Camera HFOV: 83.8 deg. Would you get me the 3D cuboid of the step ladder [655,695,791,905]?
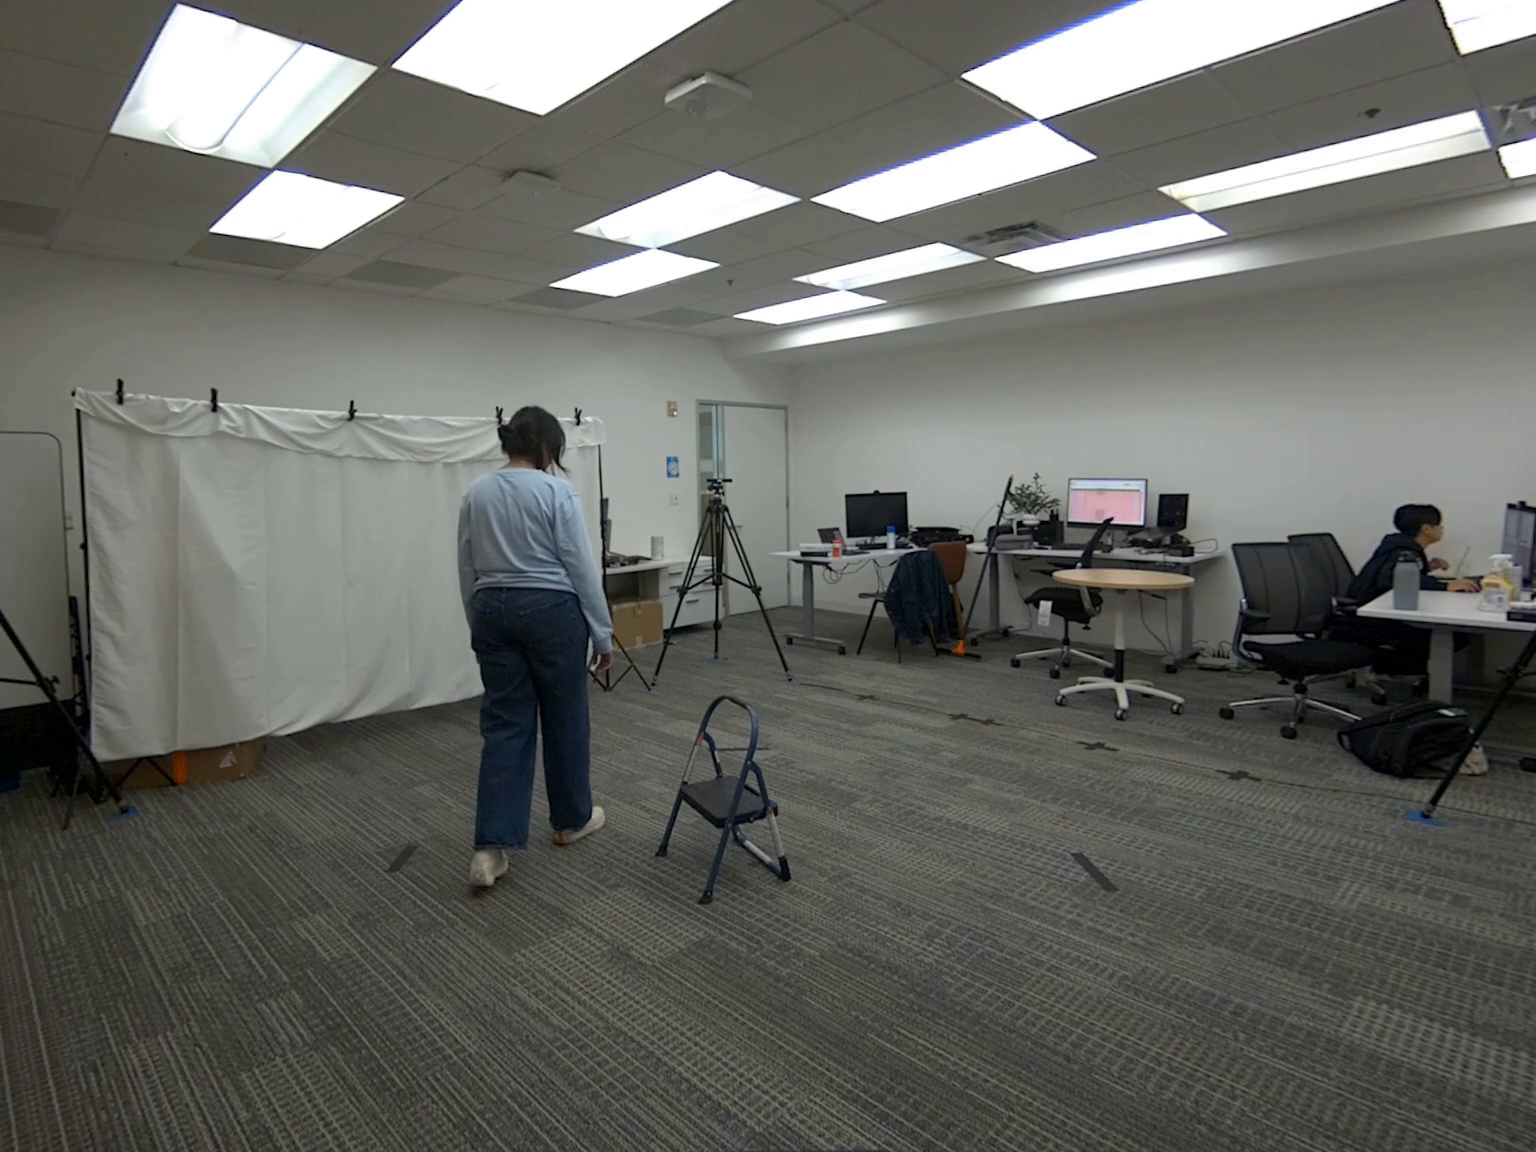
[{"bbox_3d":[-0.168,0.748,3.056,0.341,0.603,0.442,-3,6,-28],"label":"step ladder"}]
